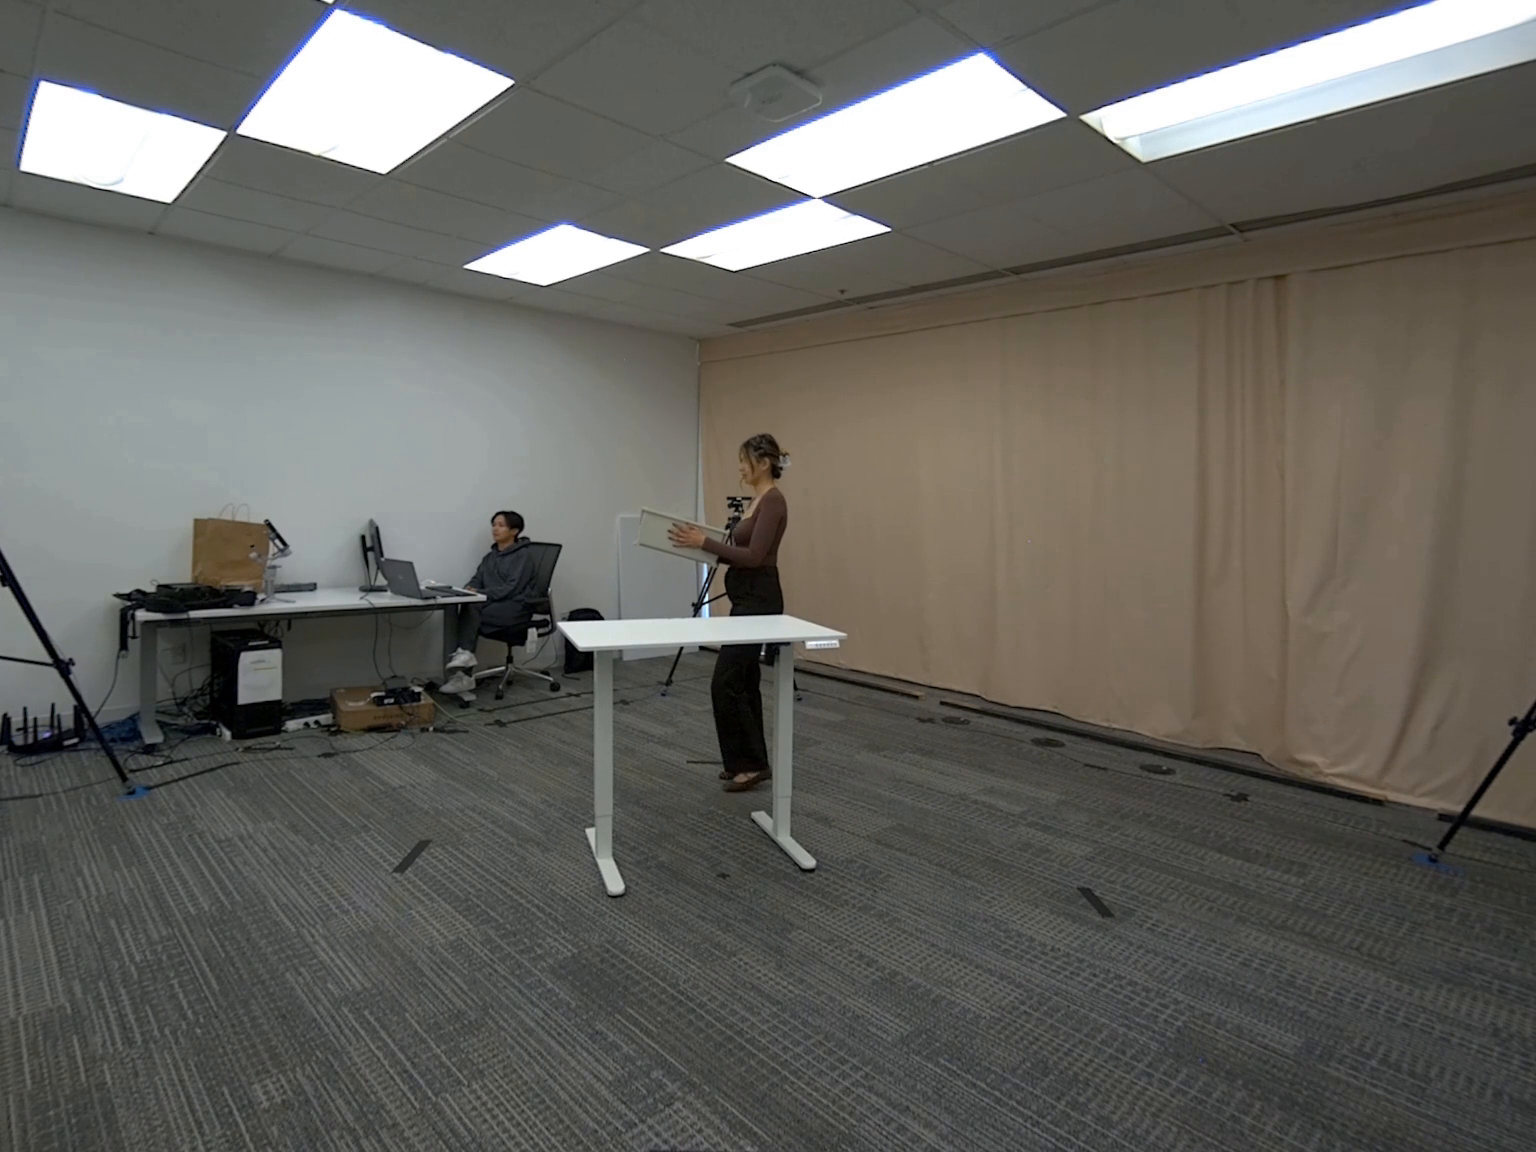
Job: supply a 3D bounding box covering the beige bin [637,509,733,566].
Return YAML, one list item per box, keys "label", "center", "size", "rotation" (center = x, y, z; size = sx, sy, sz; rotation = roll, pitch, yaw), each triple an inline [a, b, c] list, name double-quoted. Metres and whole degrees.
- label: "beige bin"
  center: [-0.437, -0.198, 4.110]
  size: [0.419, 0.188, 0.381]
  rotation: [16, 5, -8]
